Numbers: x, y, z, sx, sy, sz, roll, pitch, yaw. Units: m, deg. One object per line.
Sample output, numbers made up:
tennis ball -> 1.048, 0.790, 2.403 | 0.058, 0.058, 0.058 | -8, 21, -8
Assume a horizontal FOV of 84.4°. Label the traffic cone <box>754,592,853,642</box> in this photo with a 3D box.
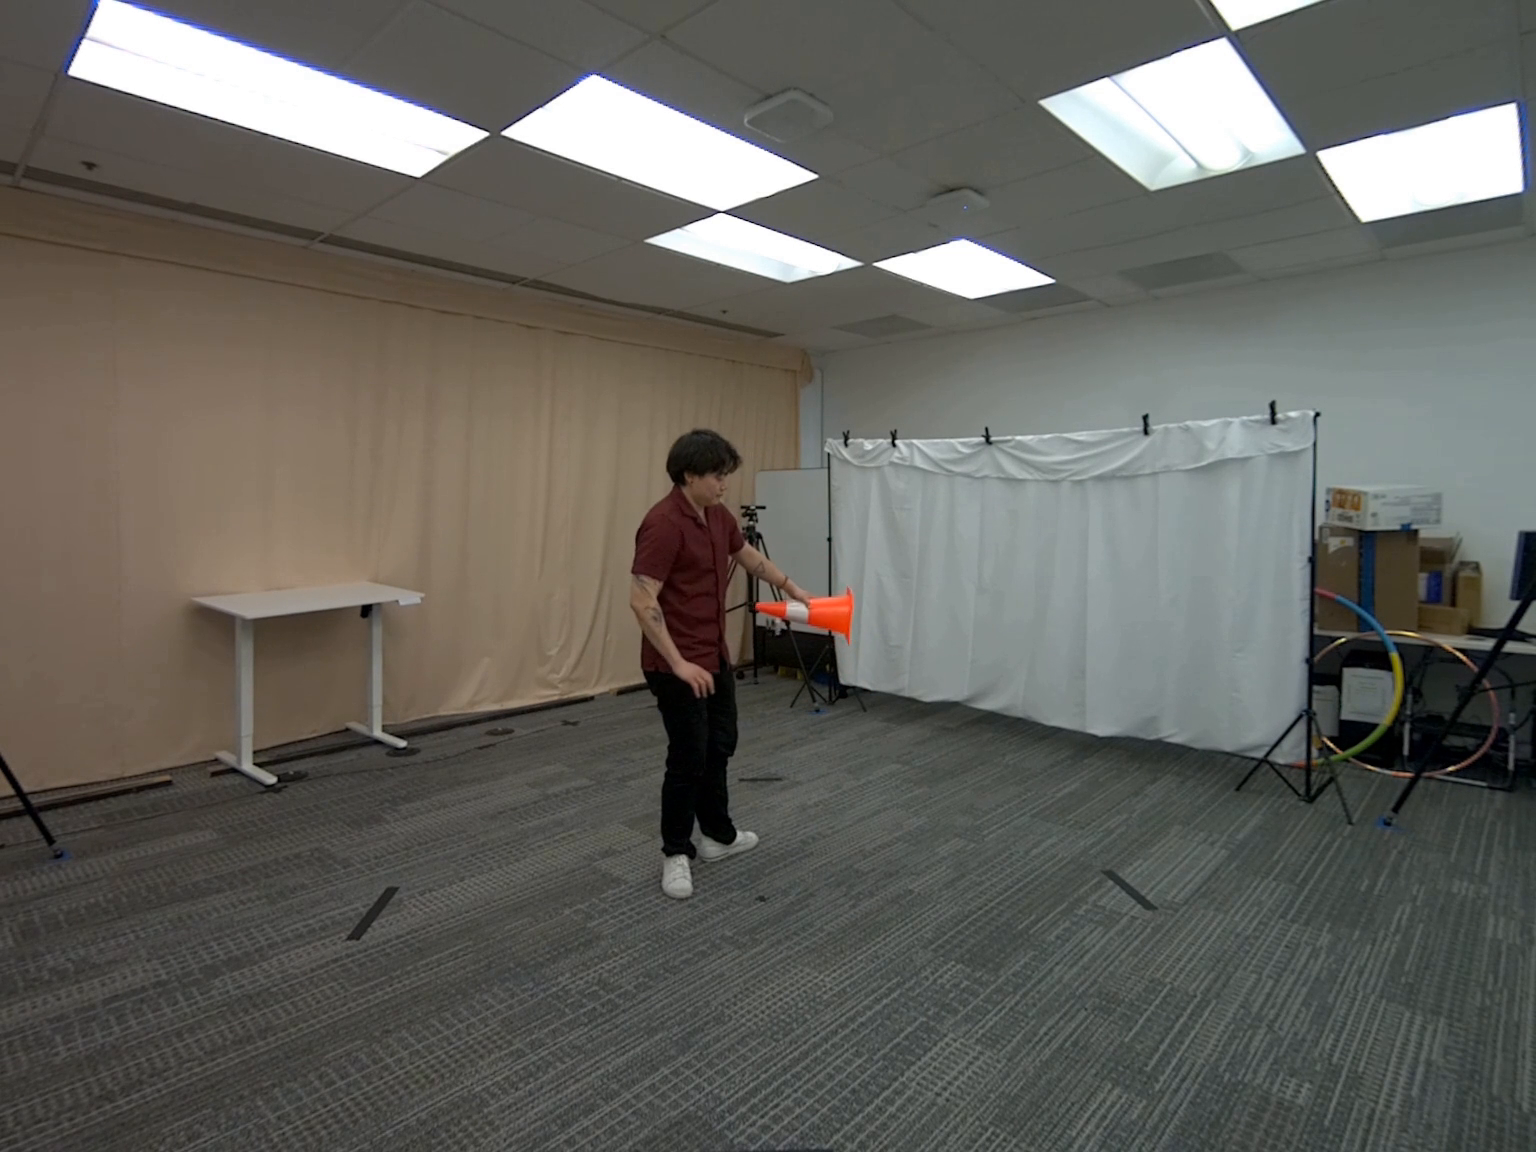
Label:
traffic cone -> 0.134, 0.151, 3.456 | 0.385, 0.201, 0.206 | 3, 17, 2
